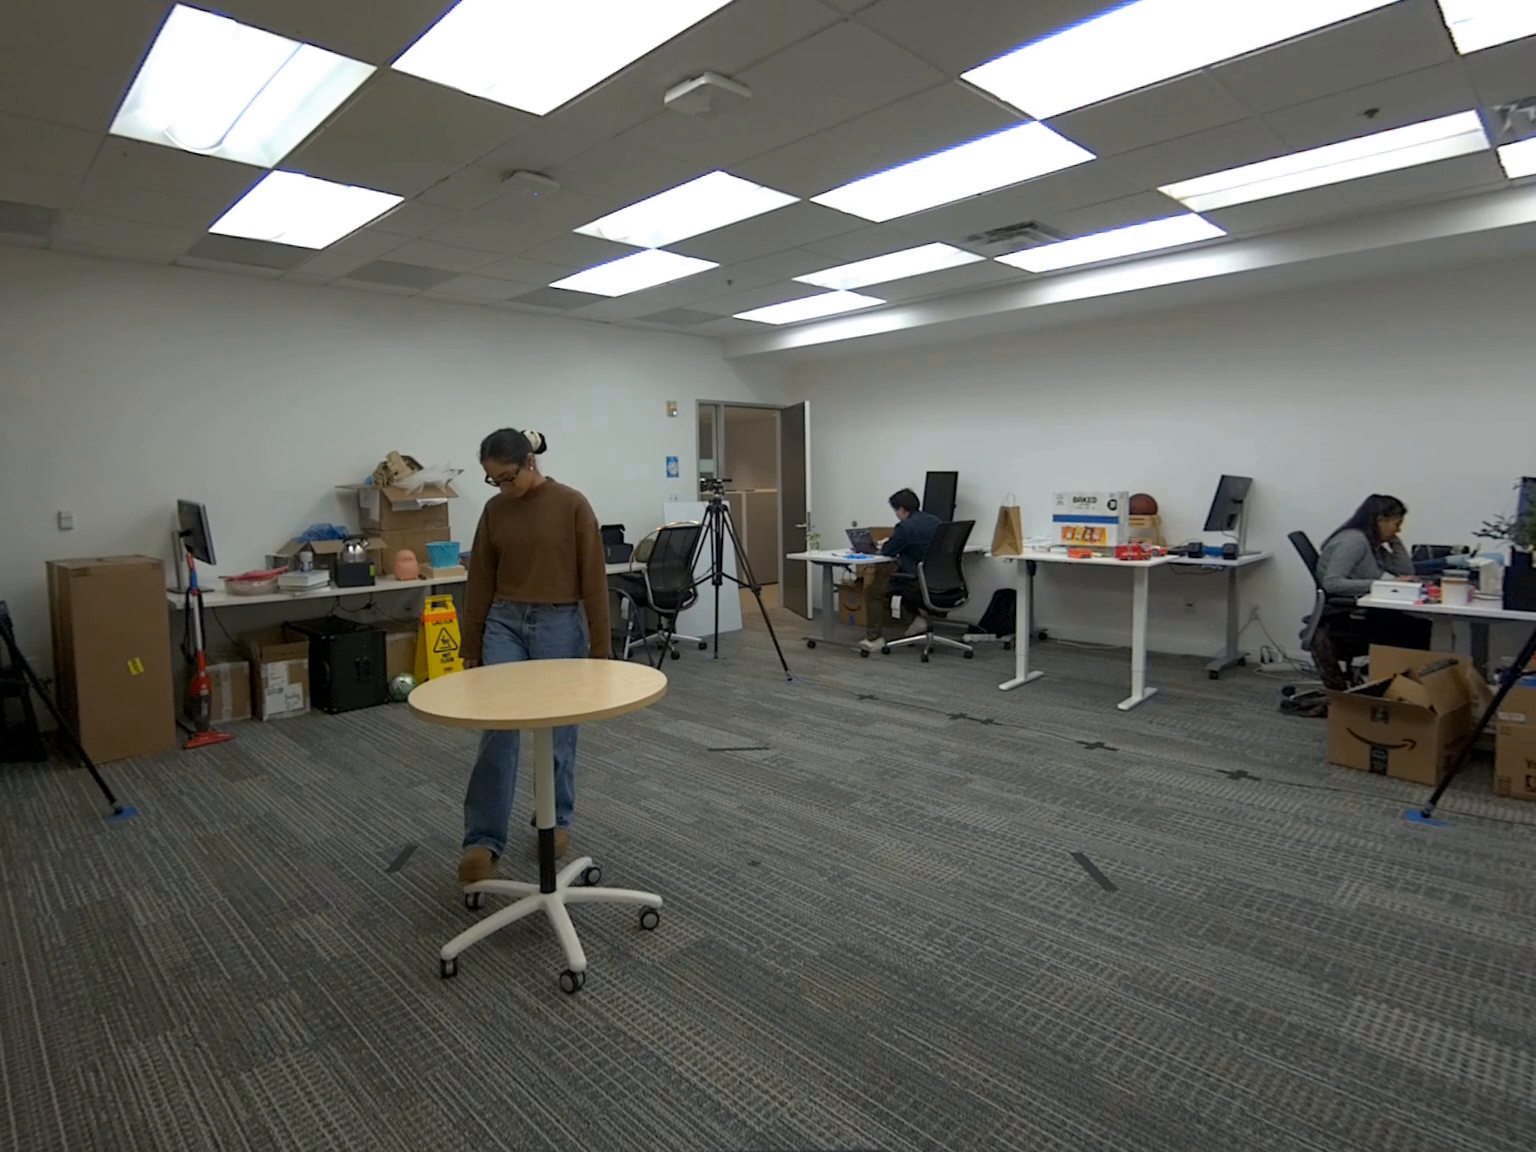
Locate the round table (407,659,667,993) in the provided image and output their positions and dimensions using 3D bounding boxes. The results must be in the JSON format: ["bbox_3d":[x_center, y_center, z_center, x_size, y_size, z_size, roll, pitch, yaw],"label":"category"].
[{"bbox_3d":[-0.678,0.723,2.622,0.763,0.791,0.768,-1,5,-2],"label":"round table"}]
